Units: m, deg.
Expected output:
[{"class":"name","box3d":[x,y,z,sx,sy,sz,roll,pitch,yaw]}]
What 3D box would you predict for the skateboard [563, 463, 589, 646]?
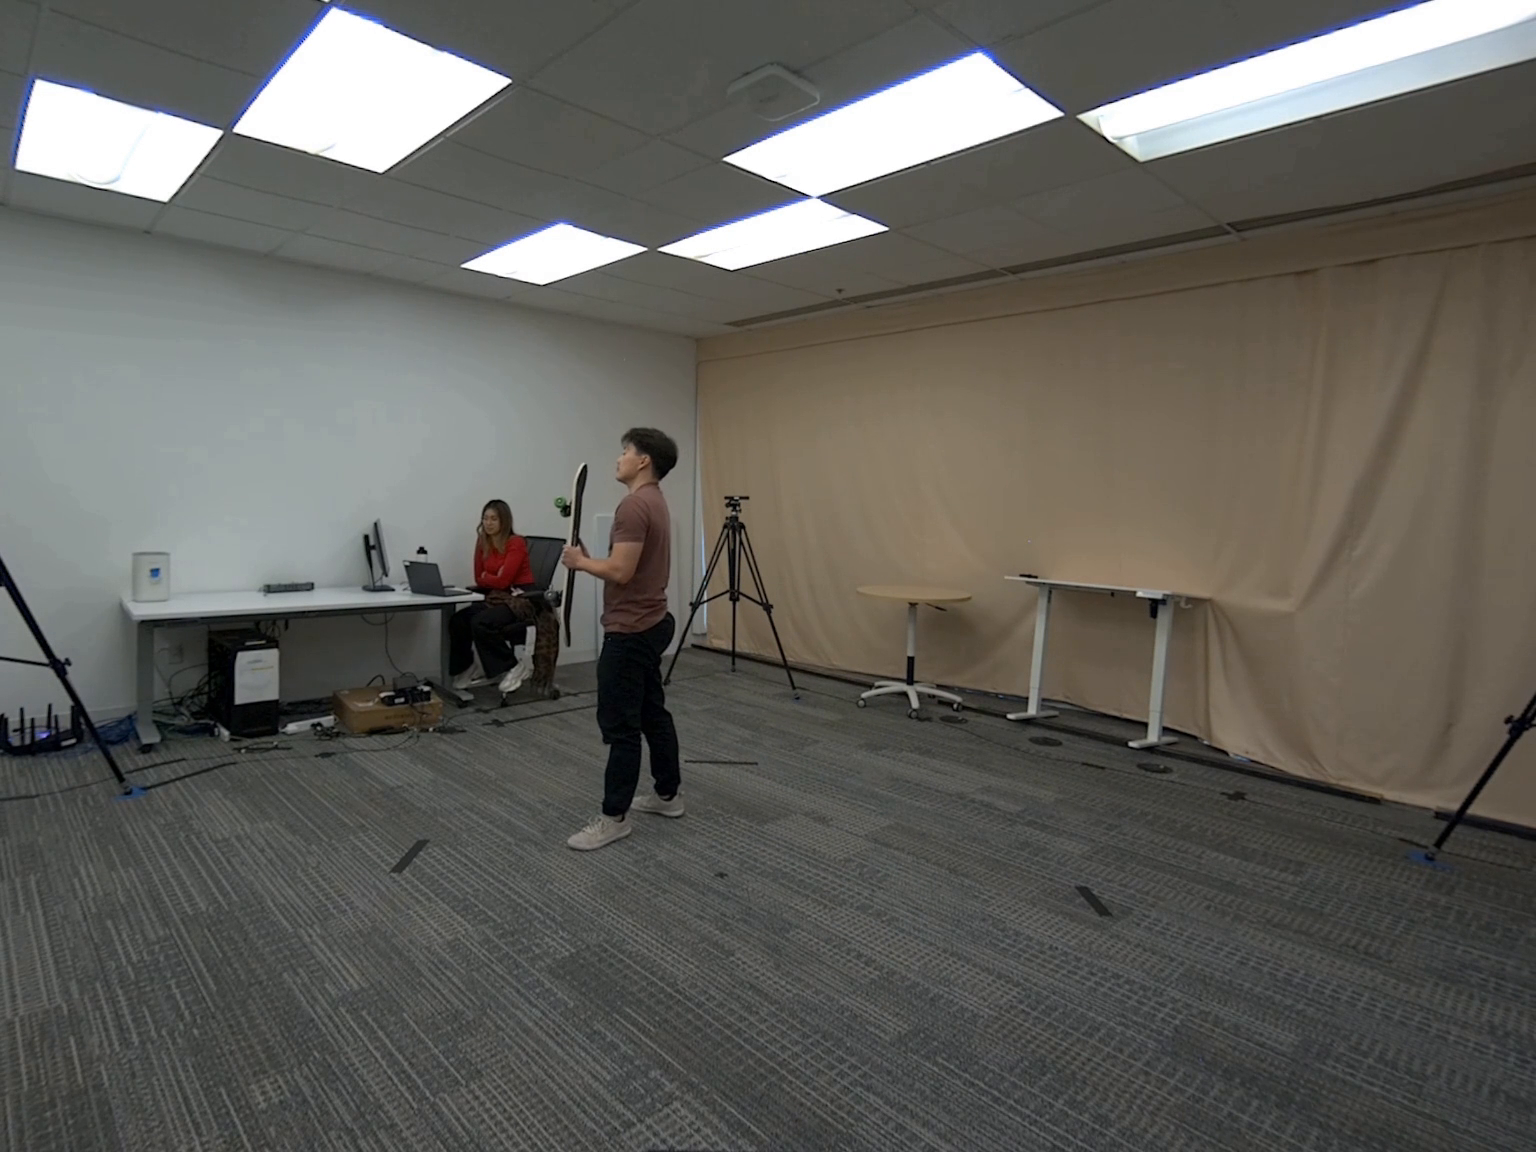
[{"class":"skateboard","box3d":[-0.855,-0.097,3.556,0.110,0.793,0.192,3,-13,-4]}]
